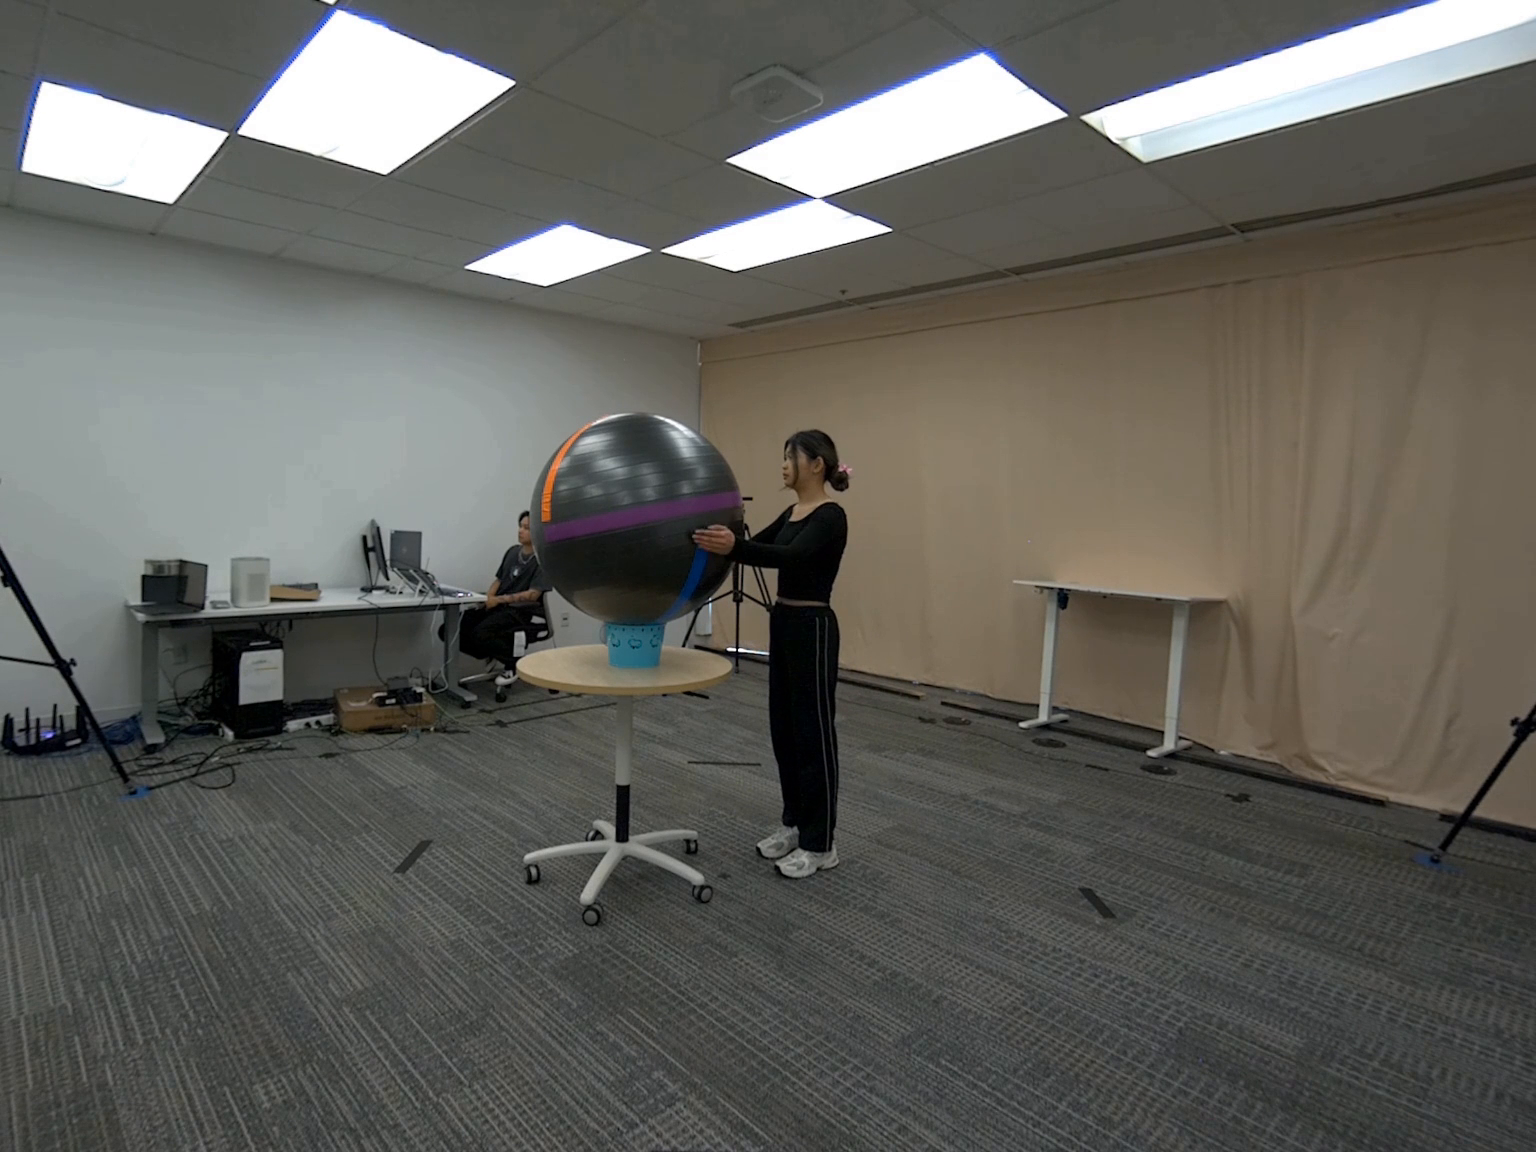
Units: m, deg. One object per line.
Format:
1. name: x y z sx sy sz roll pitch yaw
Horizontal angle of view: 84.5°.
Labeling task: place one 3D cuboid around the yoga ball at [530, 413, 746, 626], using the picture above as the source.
1. yoga ball: -0.480 -0.192 3.006 0.757 0.756 0.761 1 4 -1
